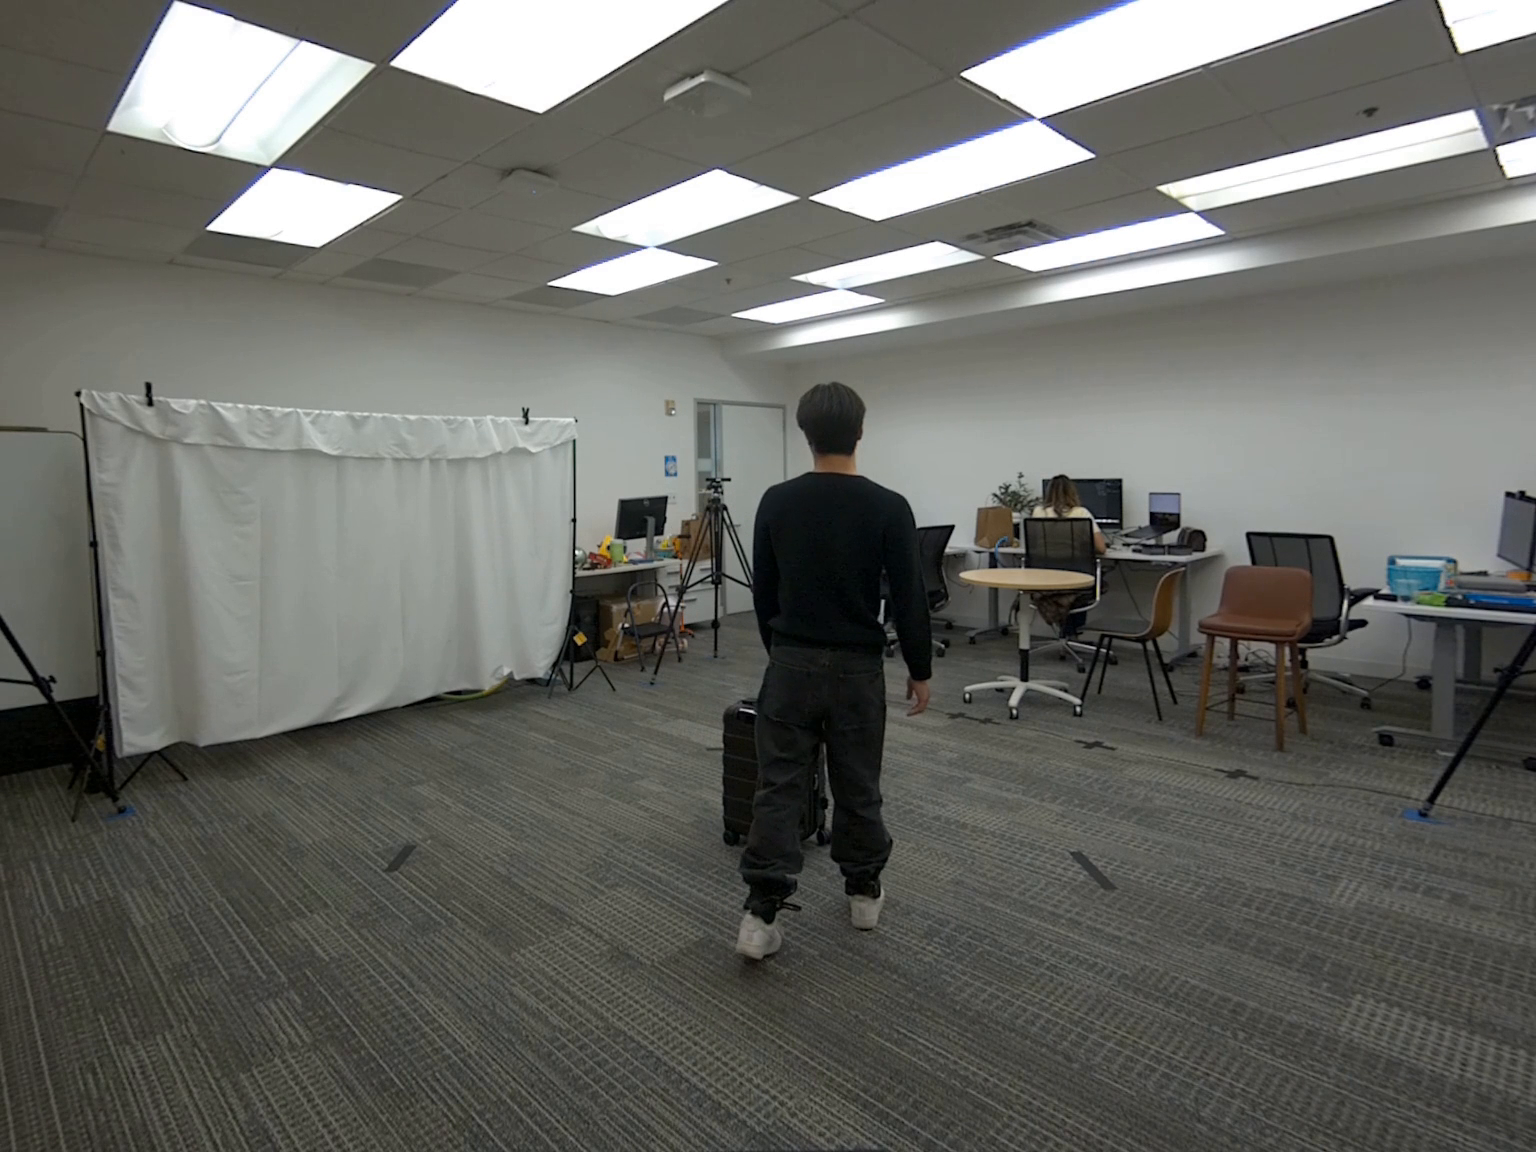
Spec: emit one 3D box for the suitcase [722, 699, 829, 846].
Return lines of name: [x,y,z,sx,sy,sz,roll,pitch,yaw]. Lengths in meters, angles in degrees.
suitcase: [0.022,0.749,3.270,0.386,0.548,0.242,1,4,35]
